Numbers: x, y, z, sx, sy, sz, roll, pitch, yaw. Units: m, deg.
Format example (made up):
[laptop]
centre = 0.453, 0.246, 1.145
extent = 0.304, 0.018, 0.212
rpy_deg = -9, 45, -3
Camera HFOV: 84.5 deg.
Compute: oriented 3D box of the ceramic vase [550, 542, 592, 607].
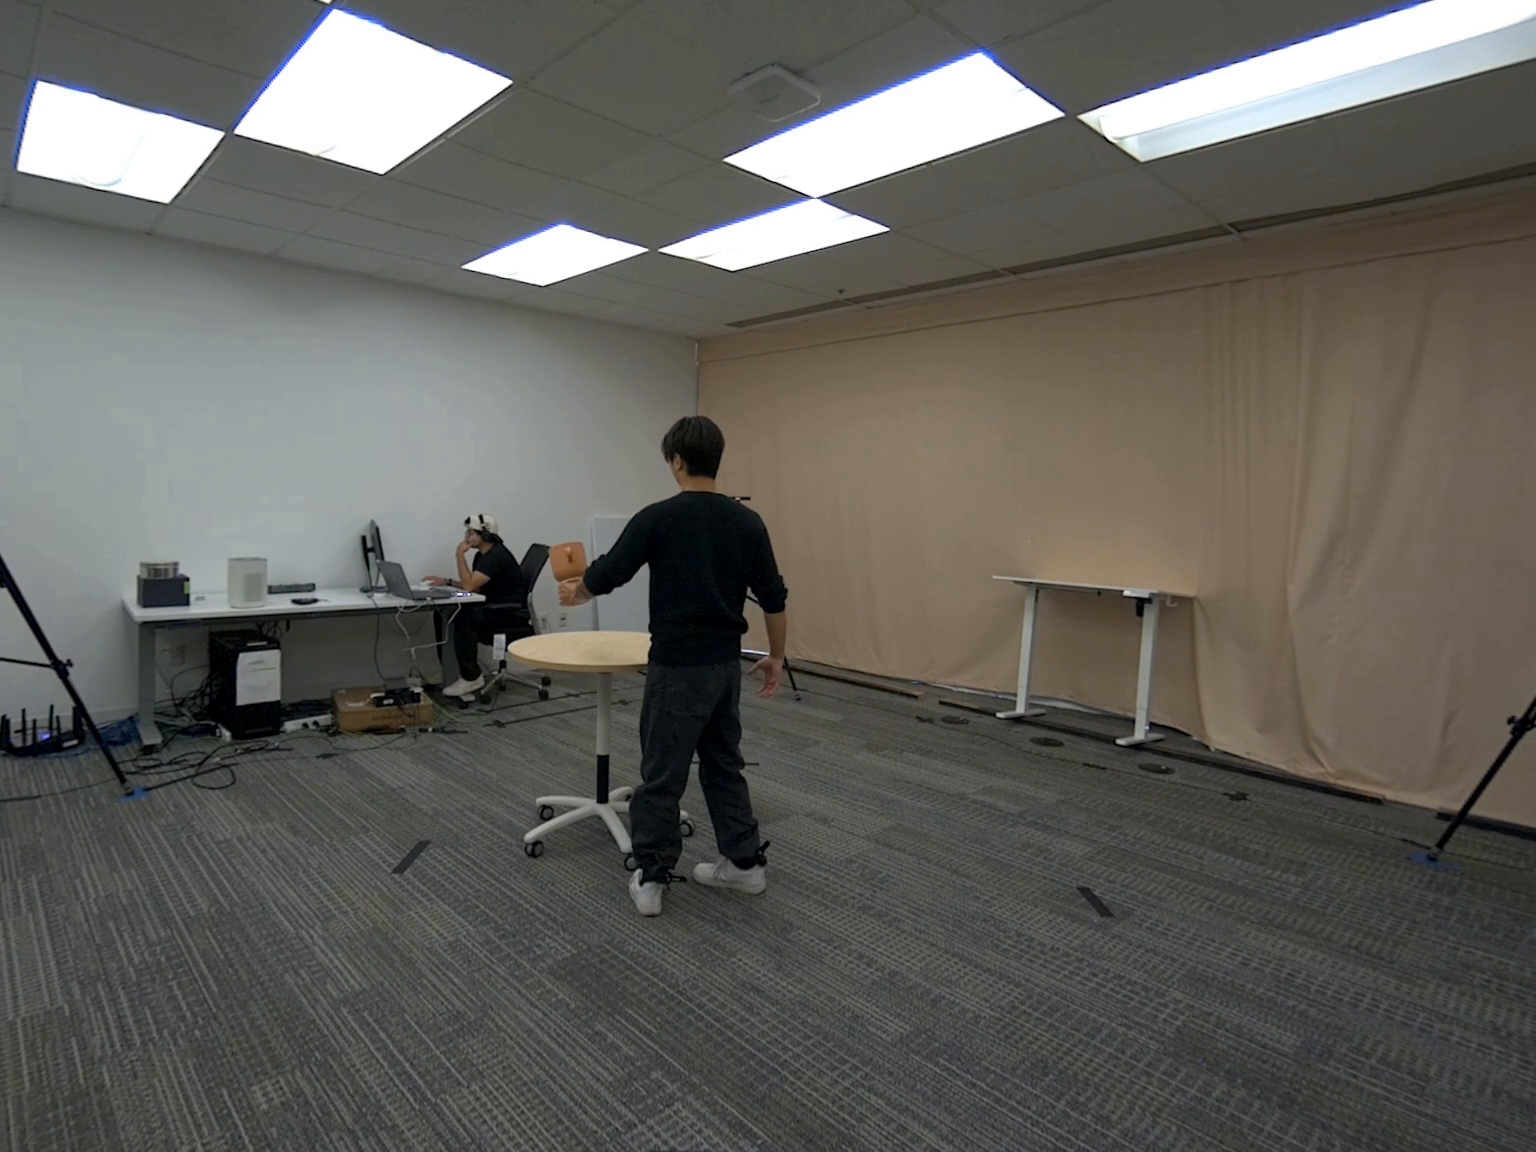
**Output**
[ceramic vase]
centre = -0.739, -0.006, 3.147
extent = 0.136, 0.222, 0.155
rpy_deg = -18, -12, 22
